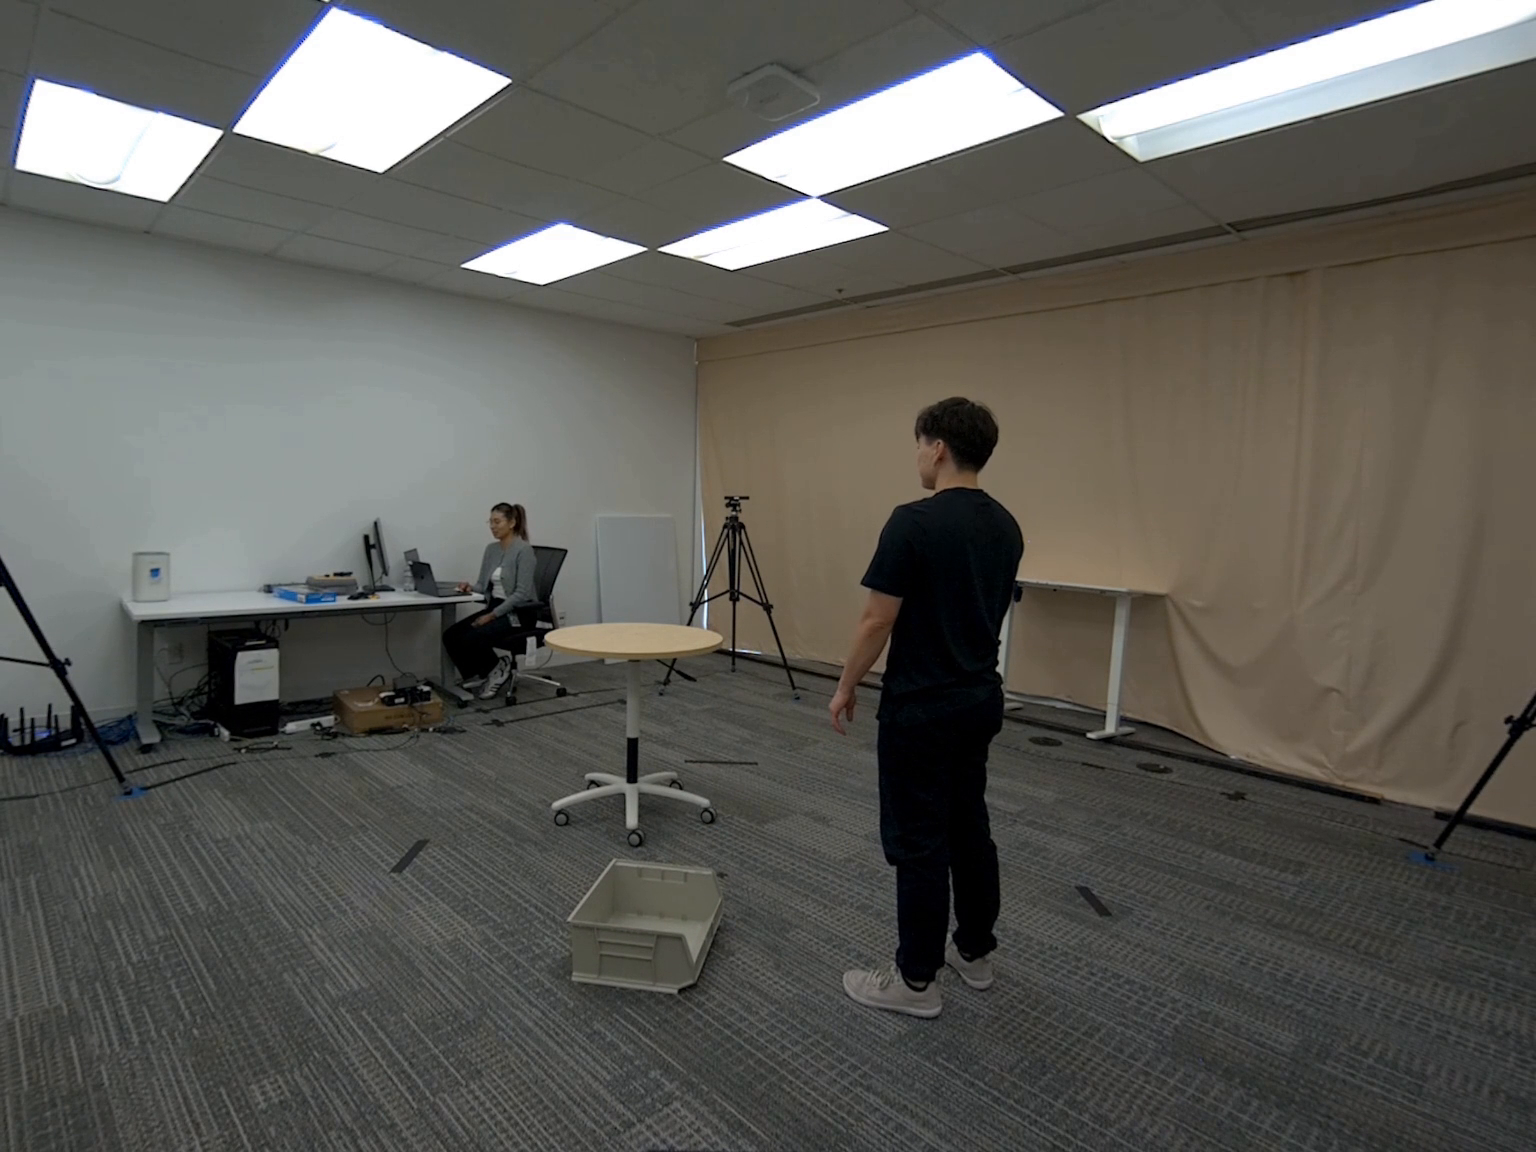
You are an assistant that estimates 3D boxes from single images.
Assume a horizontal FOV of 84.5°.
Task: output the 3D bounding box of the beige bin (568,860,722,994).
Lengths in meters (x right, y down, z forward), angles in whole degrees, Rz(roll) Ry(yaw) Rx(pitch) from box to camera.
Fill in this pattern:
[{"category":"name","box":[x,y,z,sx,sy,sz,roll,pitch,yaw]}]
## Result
[{"category":"beige bin","box":[-0.370,1.066,2.566,0.380,0.188,0.420,1,6,9]}]
